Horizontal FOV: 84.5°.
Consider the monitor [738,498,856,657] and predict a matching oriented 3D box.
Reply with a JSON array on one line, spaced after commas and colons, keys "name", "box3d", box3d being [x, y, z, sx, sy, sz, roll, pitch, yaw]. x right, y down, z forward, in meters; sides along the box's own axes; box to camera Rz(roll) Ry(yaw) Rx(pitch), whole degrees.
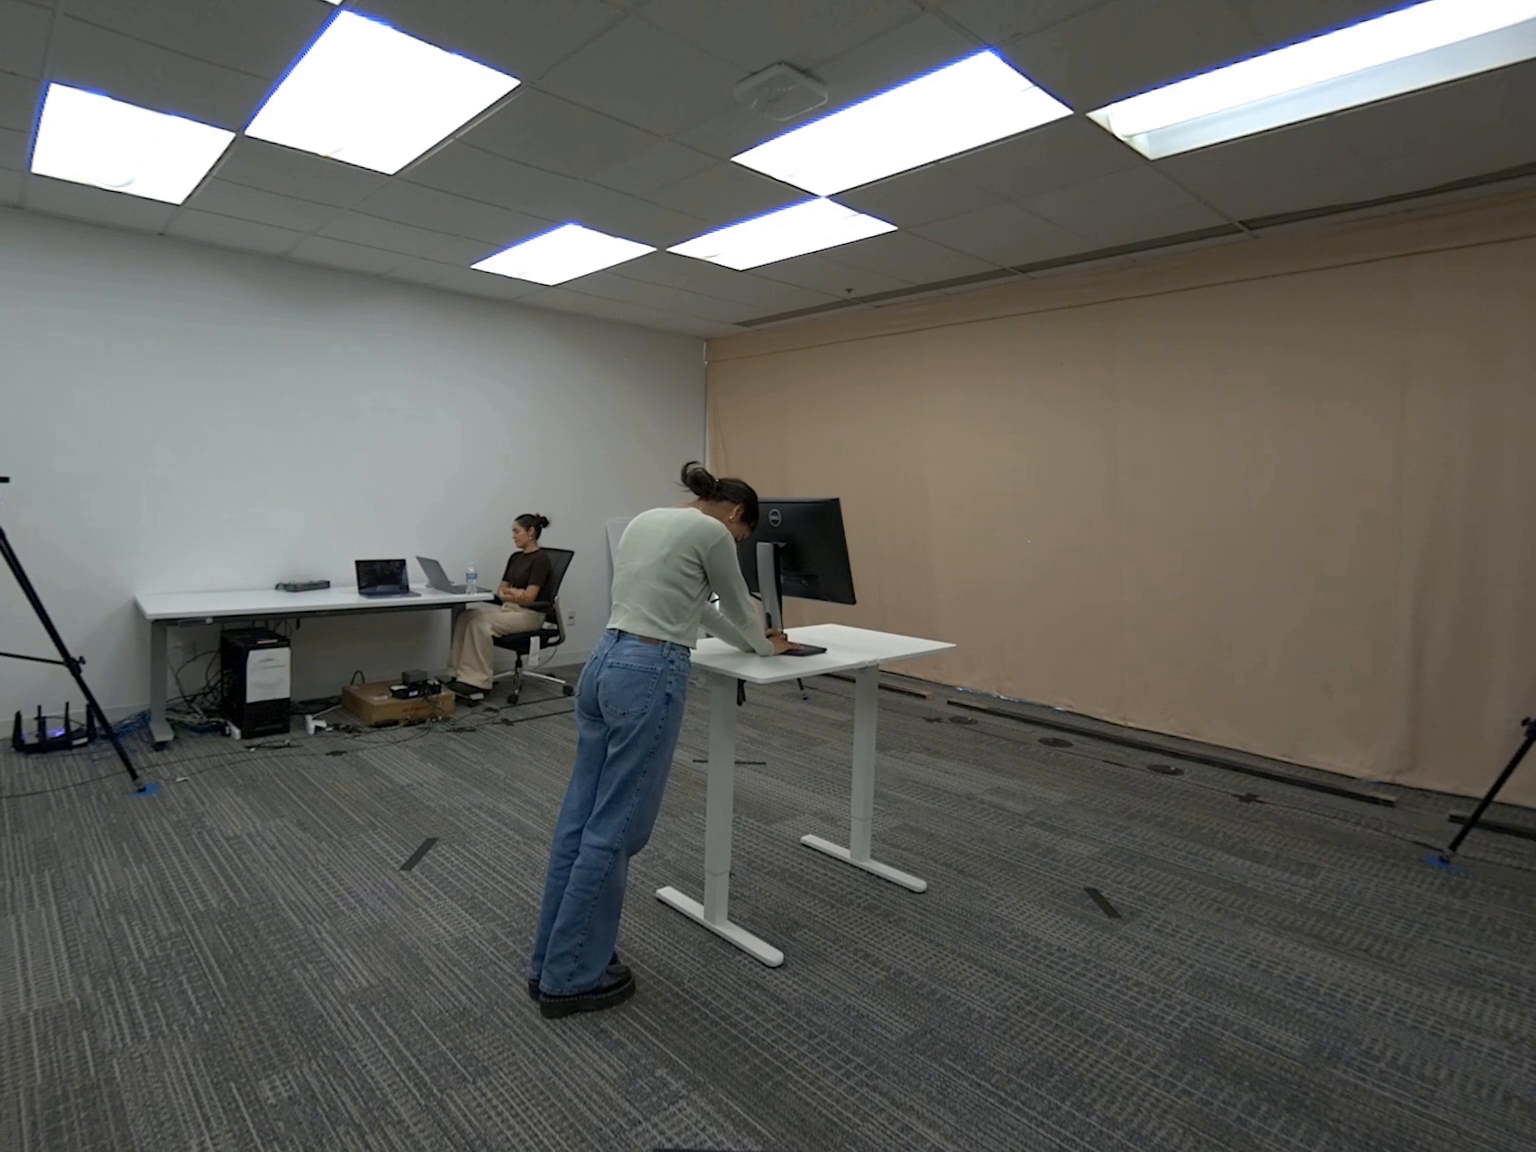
[{"name": "monitor", "box3d": [0.038, -0.003, 2.829, 0.183, 0.521, 0.553, -3, 5, -43]}]
